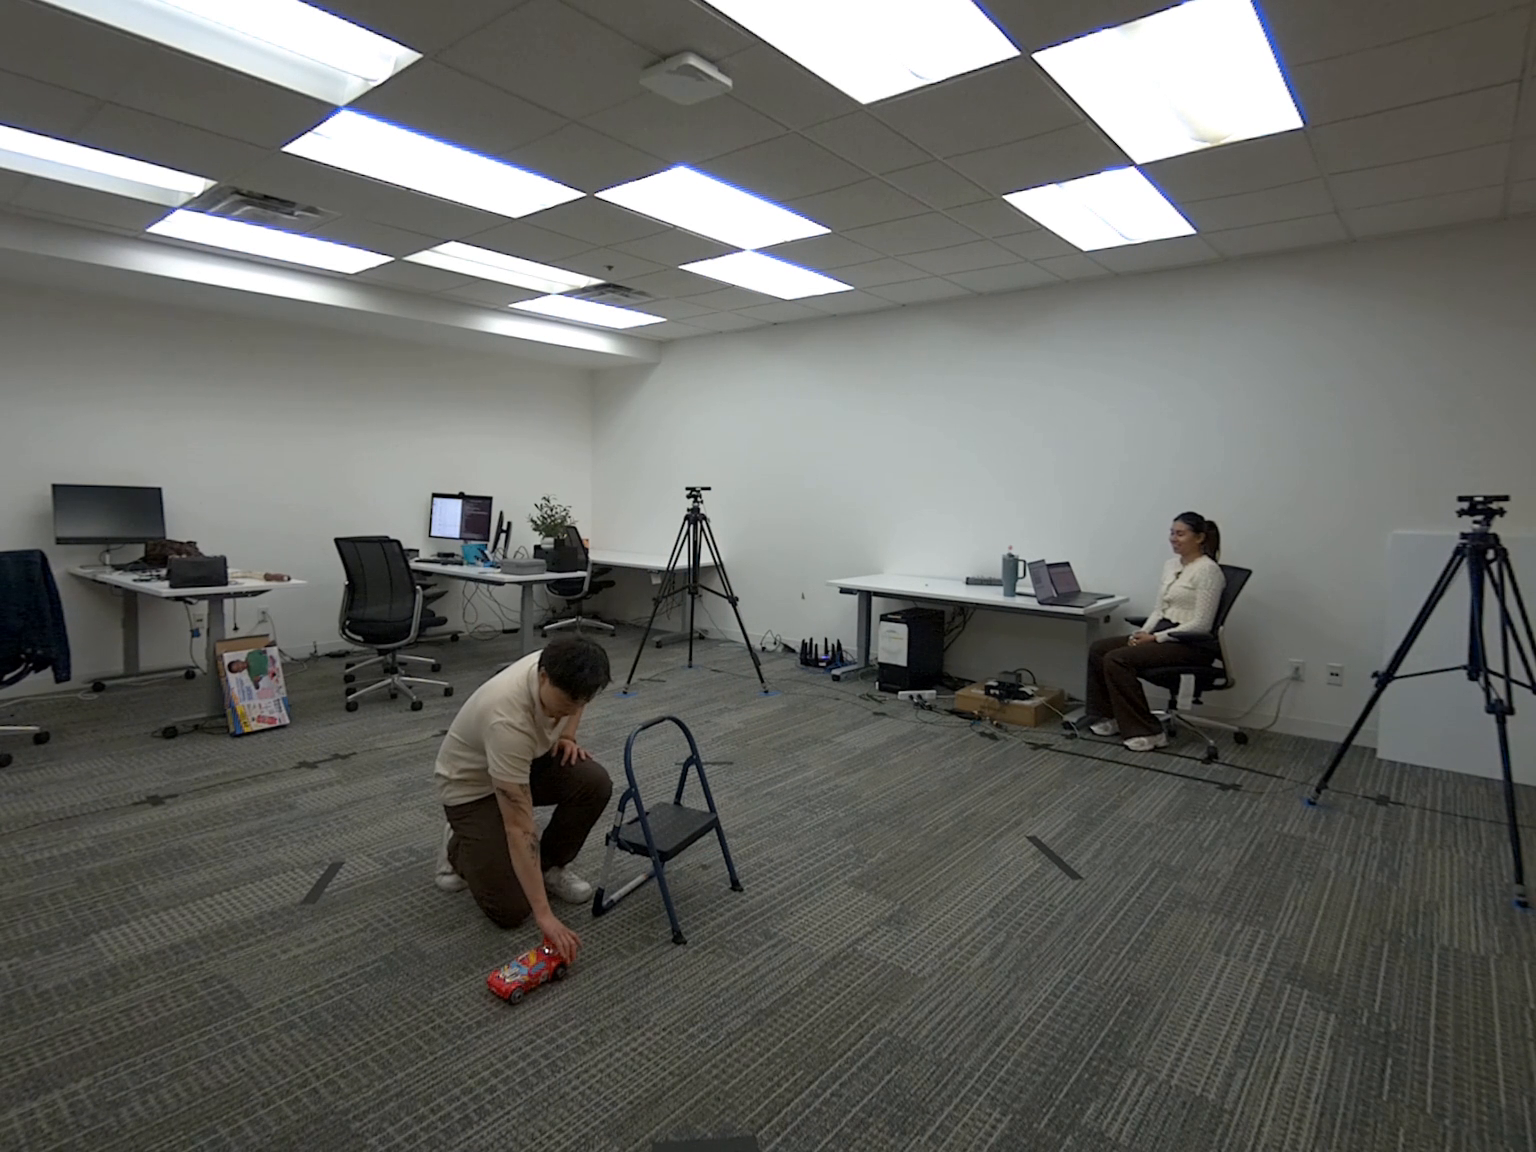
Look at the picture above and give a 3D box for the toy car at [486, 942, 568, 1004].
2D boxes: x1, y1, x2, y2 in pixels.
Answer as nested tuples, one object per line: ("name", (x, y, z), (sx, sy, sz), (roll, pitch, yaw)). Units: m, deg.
("toy car", (-0.668, 1.100, 2.382), (0.135, 0.082, 0.249), (6, 16, 39))
